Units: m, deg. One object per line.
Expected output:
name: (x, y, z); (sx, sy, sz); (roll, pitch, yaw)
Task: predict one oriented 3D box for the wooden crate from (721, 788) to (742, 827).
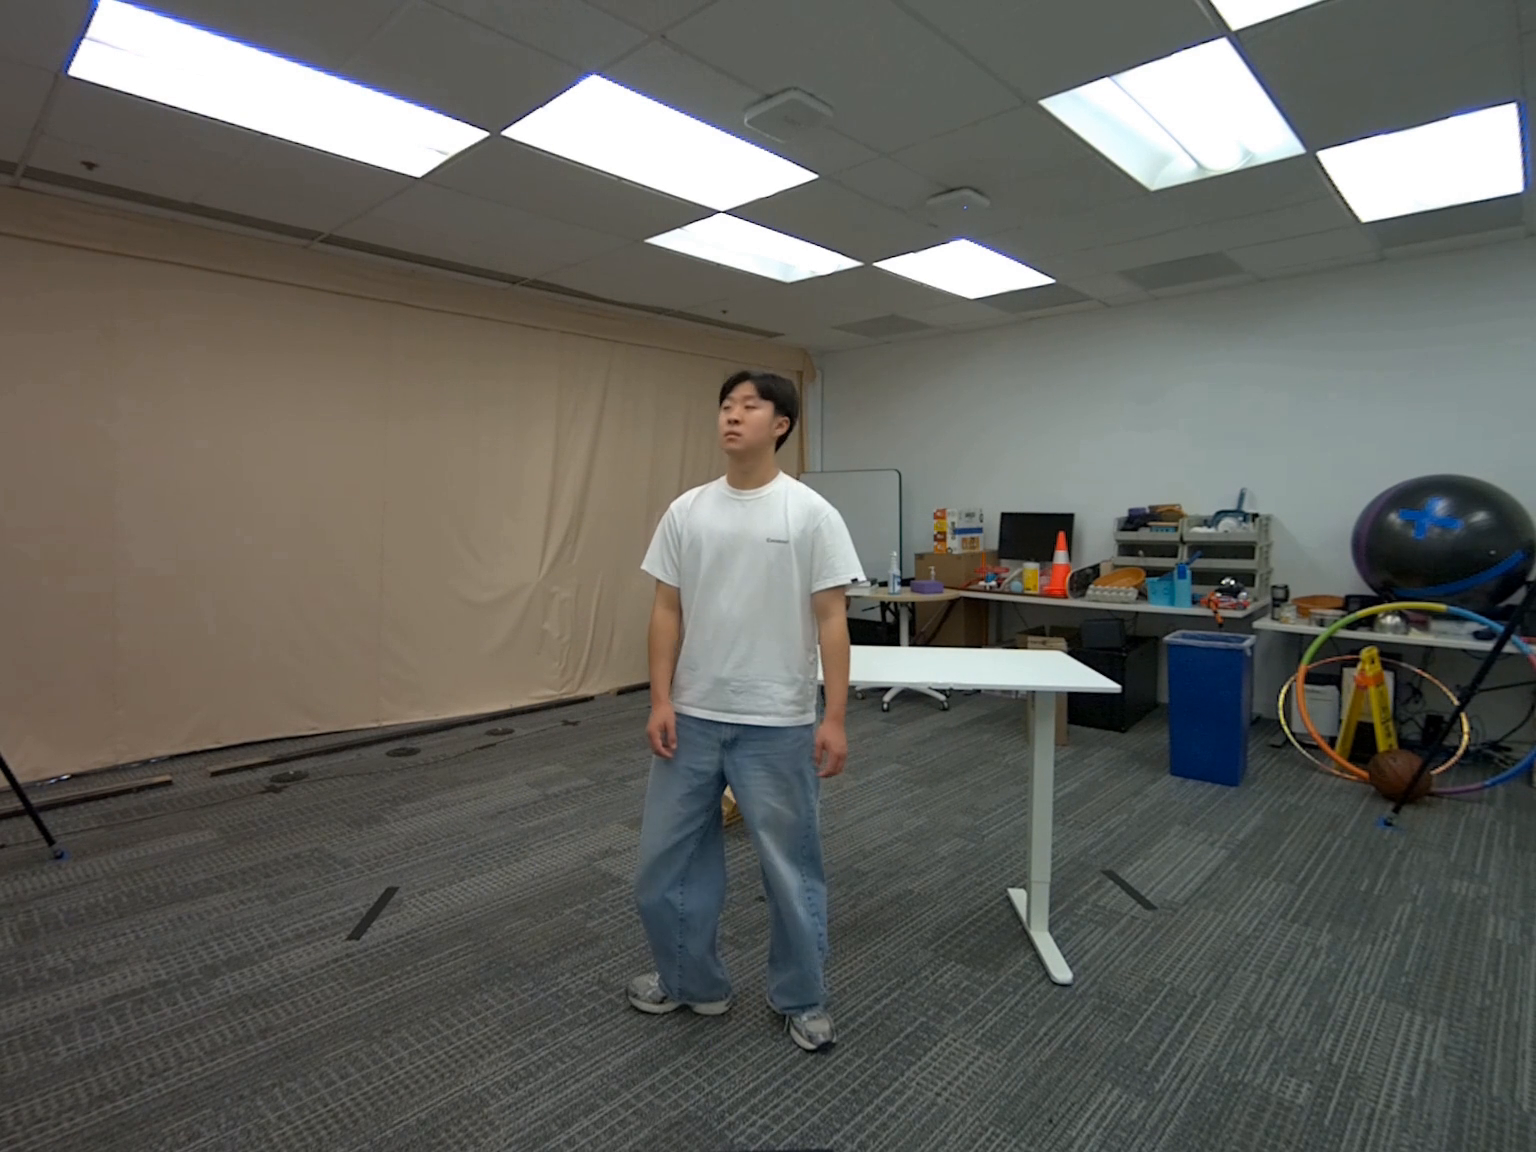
wooden crate: (-0.198, 0.995, 3.717); (0.282, 0.301, 0.315); (35, 23, 30)
